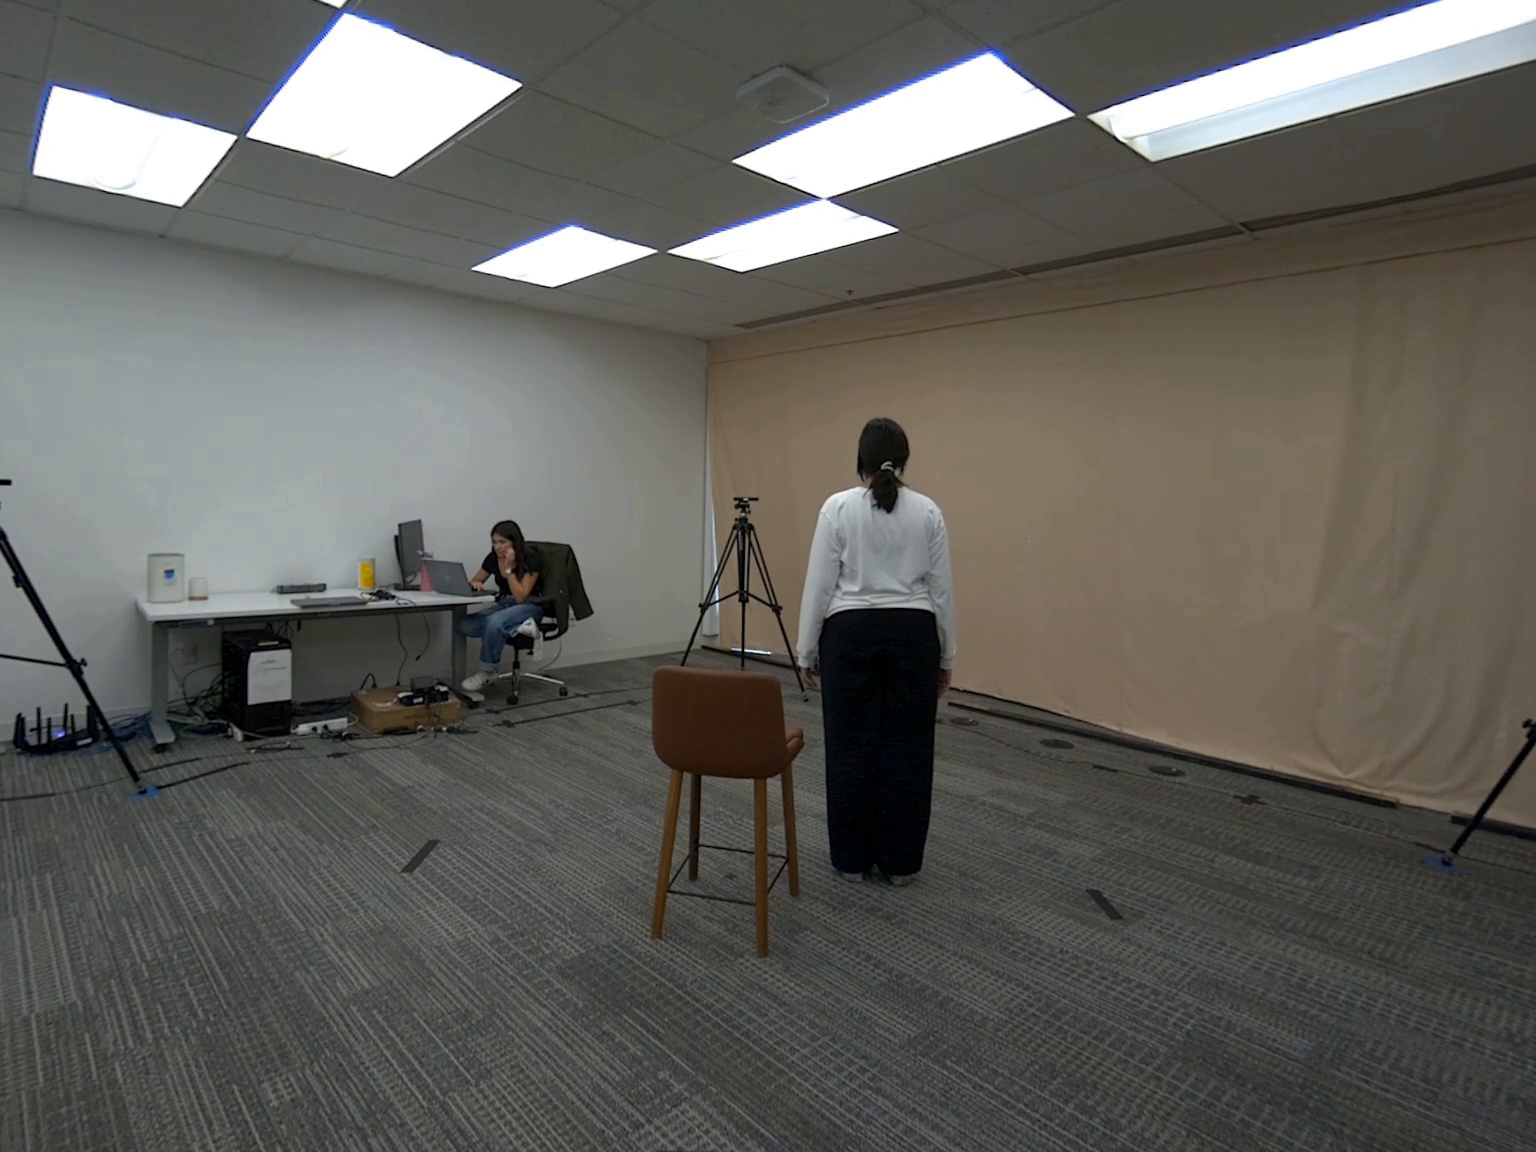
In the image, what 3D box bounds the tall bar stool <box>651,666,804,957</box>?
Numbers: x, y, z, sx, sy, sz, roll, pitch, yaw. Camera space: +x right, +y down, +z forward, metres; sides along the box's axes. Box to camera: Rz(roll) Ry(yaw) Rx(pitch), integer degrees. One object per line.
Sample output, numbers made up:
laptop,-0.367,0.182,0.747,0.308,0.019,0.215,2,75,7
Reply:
tall bar stool,-0.134,0.704,2.784,0.462,0.886,0.463,2,5,15
